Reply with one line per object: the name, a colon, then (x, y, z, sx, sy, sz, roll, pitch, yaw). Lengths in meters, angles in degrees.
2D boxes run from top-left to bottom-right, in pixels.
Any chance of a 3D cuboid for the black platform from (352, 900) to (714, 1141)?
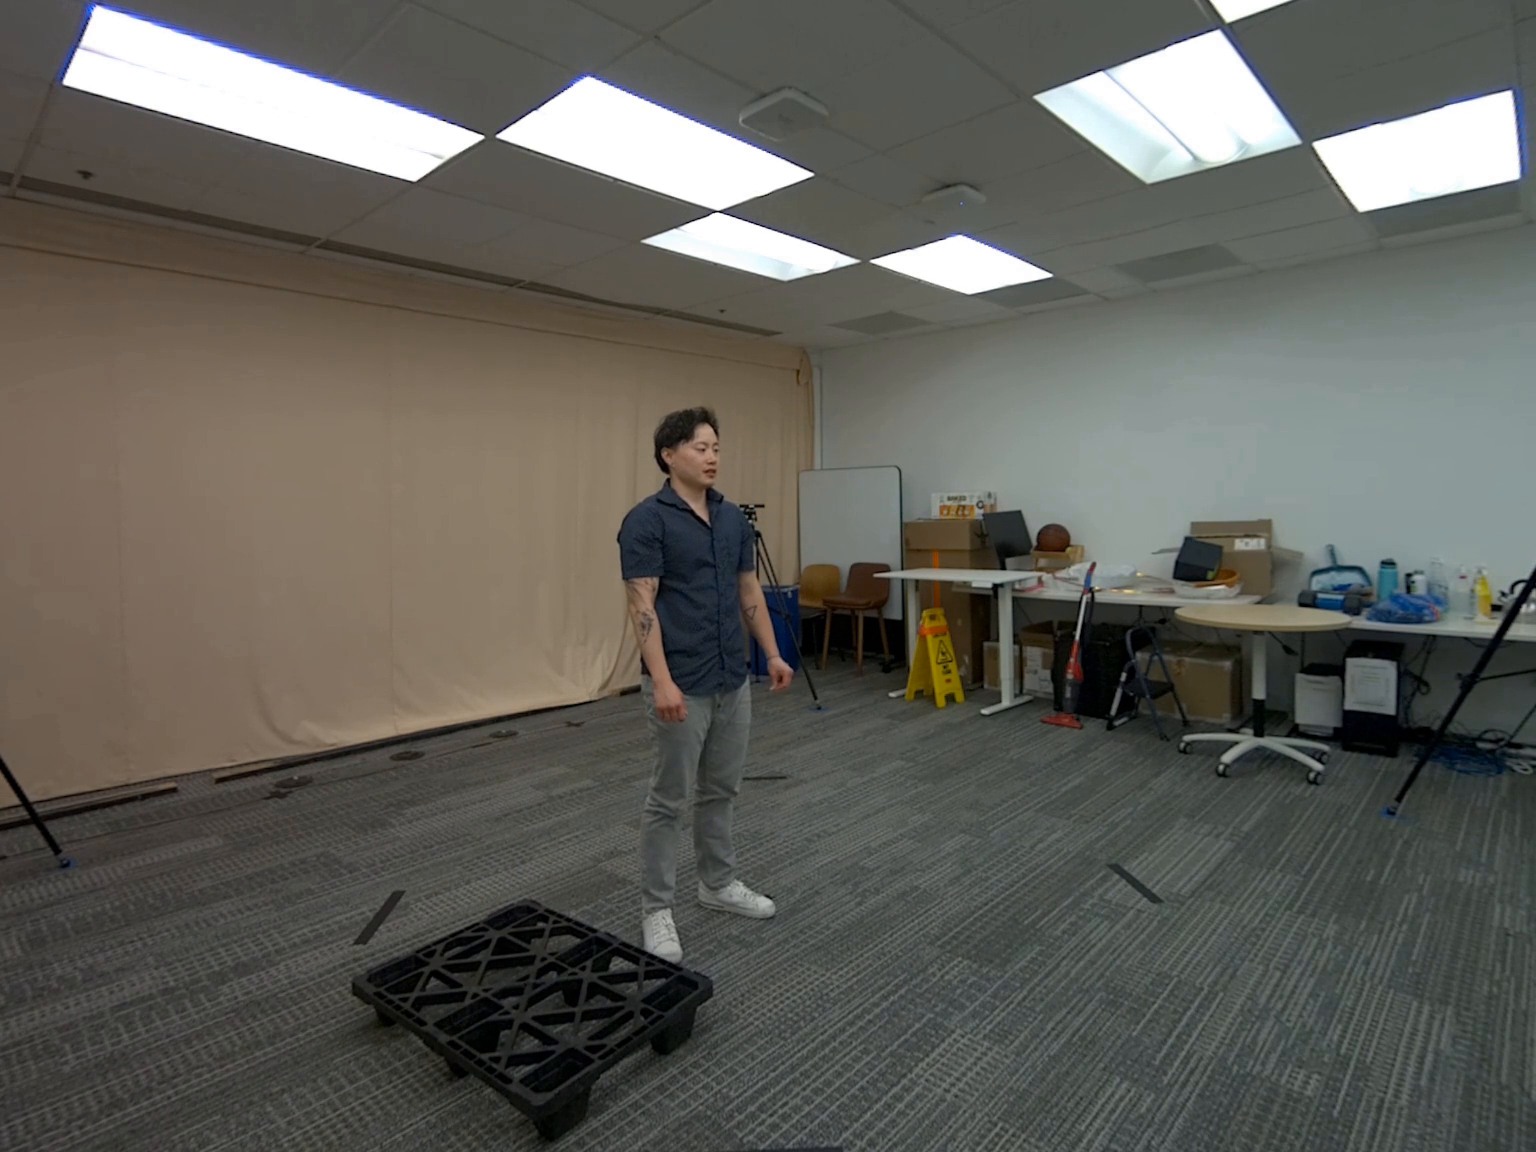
black platform: (-0.634, 1.153, 2.245, 0.831, 0.143, 0.588, 2, 7, 38)
